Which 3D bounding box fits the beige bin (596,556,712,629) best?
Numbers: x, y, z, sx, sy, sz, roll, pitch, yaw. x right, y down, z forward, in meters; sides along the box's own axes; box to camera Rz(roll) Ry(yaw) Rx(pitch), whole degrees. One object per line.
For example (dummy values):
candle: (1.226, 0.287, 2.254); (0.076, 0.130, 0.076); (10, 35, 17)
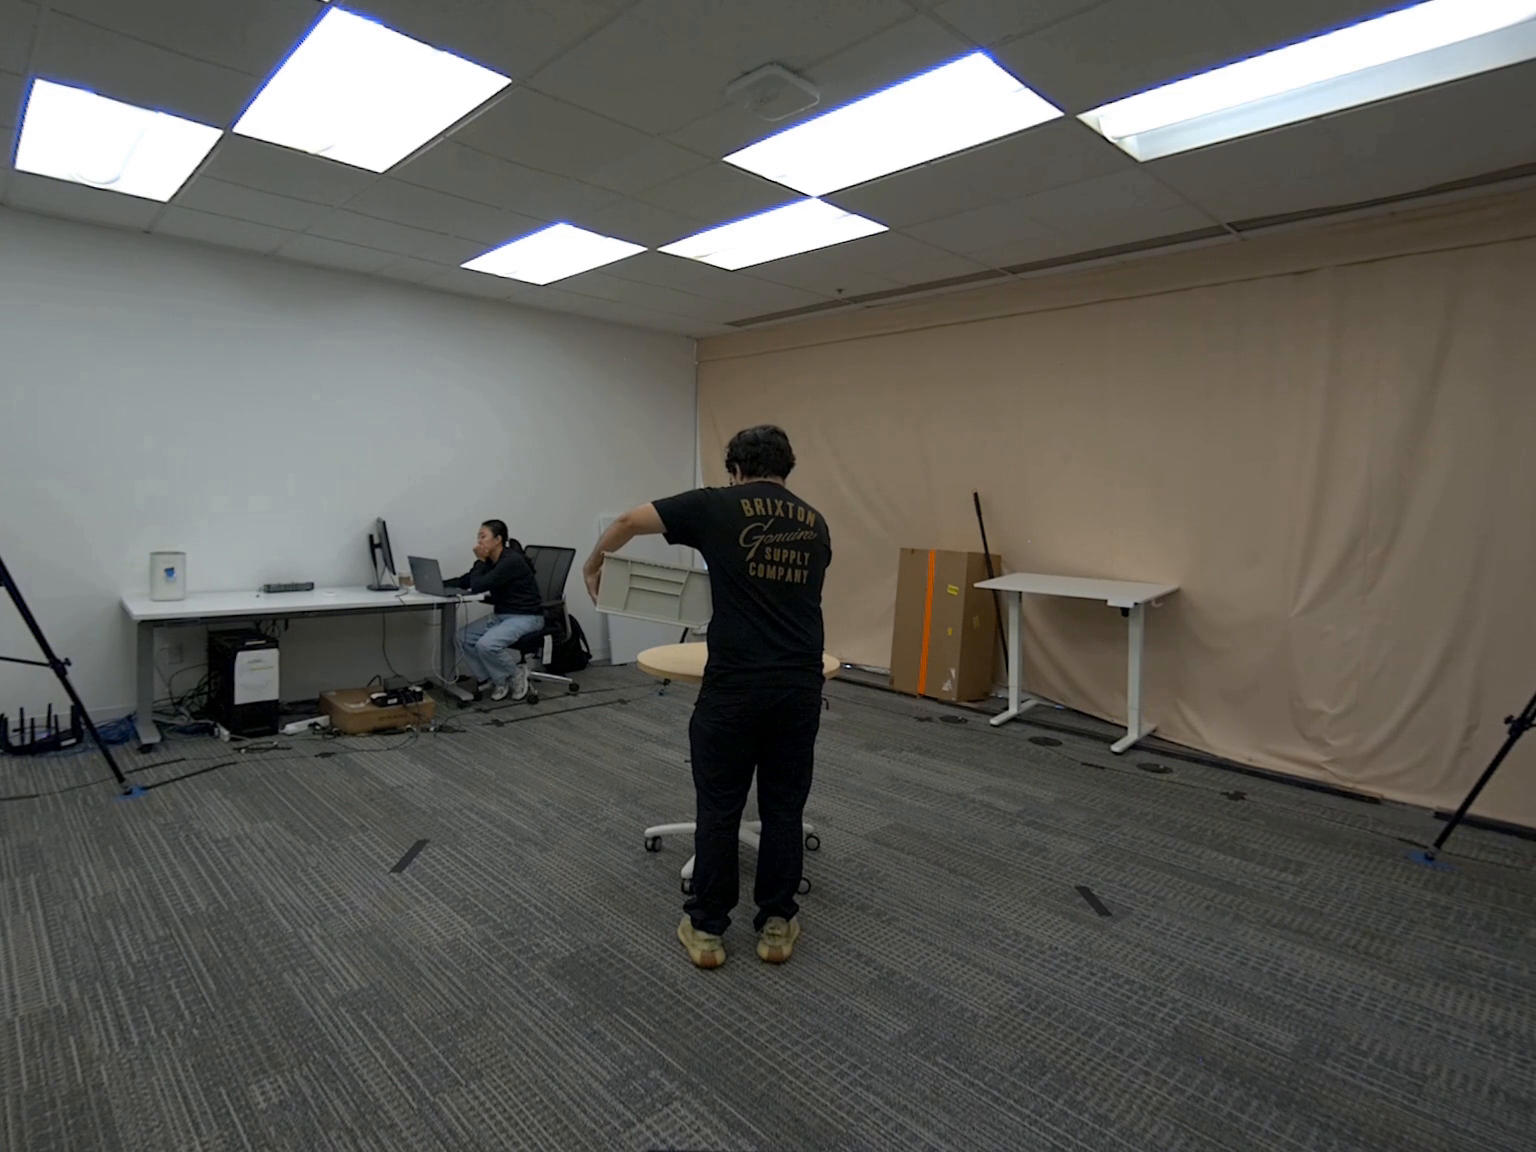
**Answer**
beige bin: (-0.349, 0.064, 2.704); (0.376, 0.189, 0.423); (11, -3, -5)
